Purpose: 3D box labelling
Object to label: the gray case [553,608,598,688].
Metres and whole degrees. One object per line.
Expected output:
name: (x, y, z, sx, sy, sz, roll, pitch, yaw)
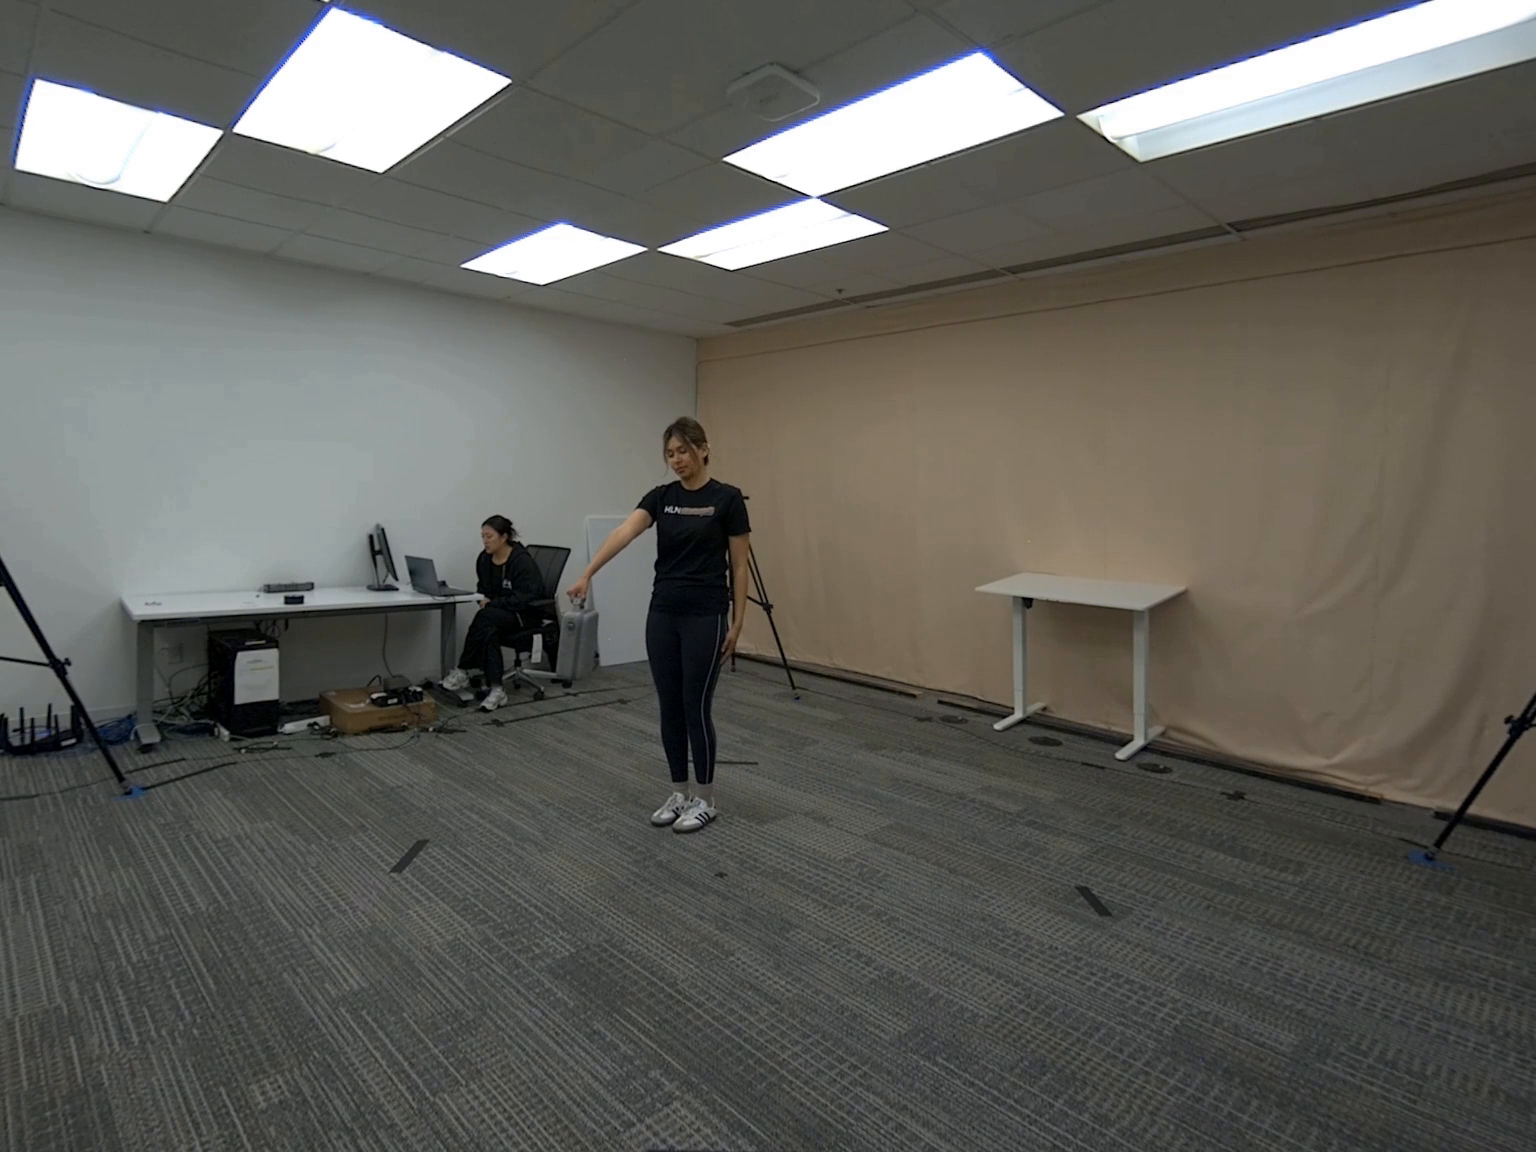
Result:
gray case: (-0.735, 0.258, 3.214, 0.104, 0.261, 0.256, 7, -1, 0)
